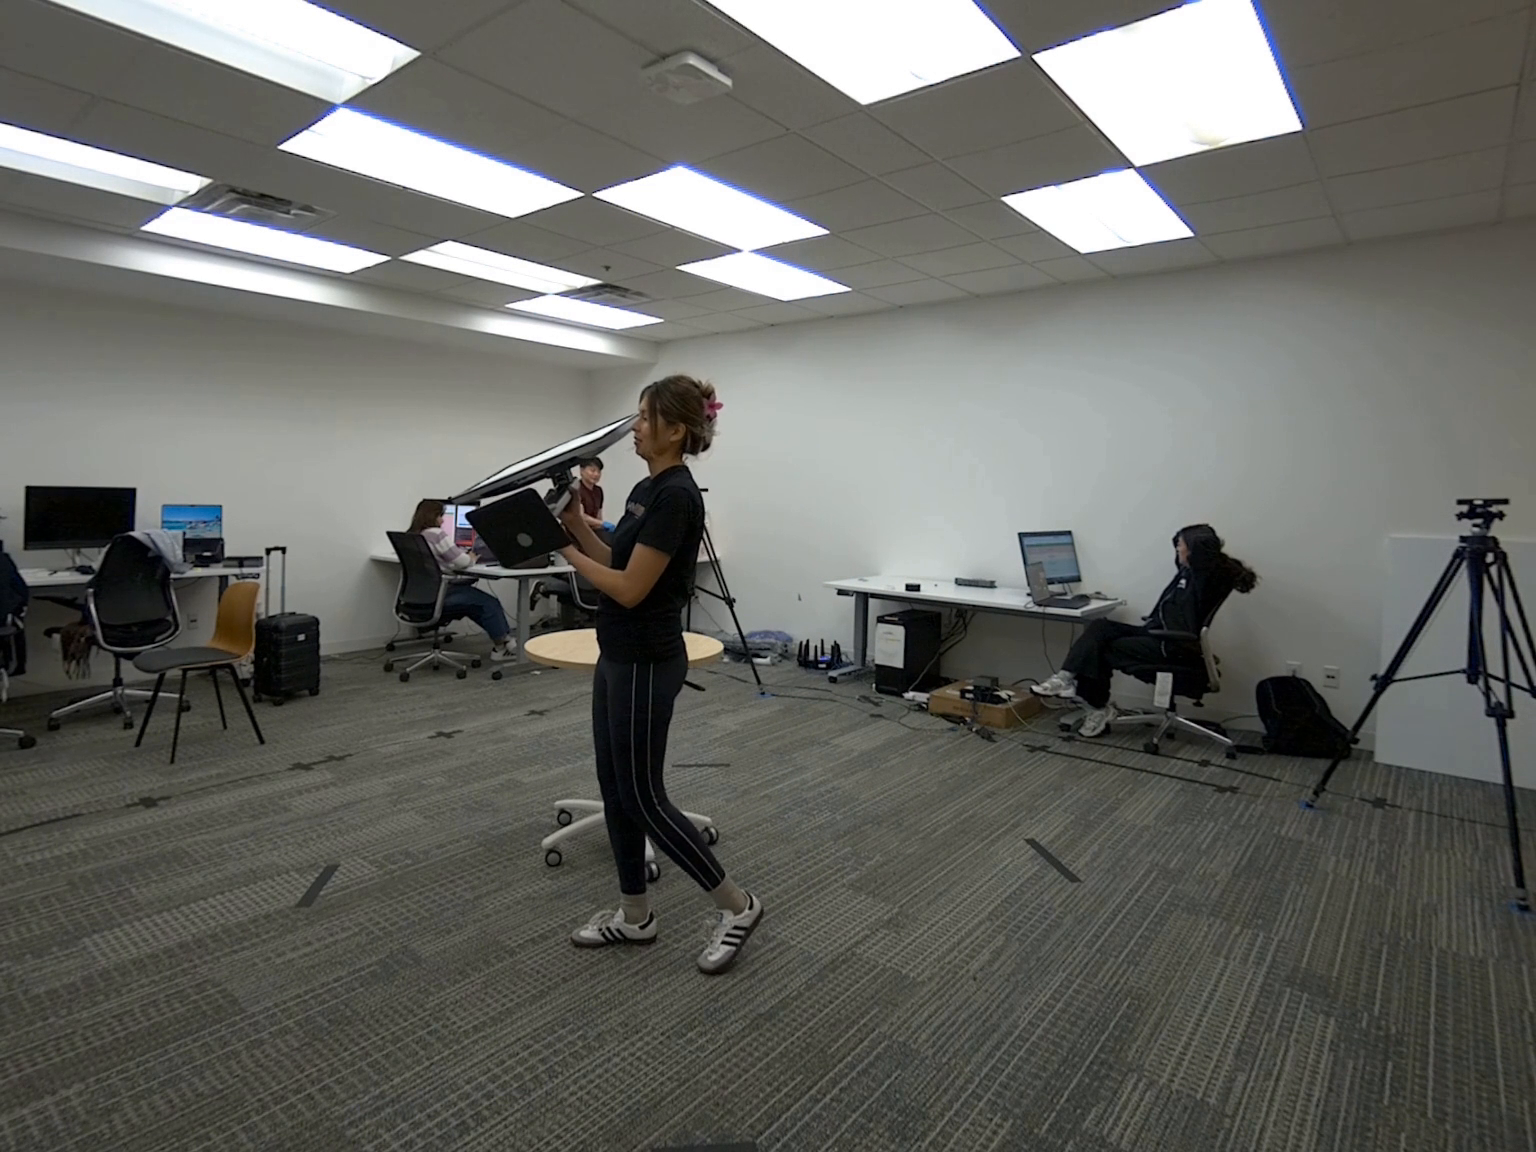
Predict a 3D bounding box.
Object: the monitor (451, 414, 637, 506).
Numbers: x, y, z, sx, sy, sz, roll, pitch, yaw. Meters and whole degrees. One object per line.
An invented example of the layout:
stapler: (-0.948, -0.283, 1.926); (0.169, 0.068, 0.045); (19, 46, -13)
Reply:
monitor: (-0.691, -0.289, 2.581); (0.547, 0.181, 0.533); (-15, 33, 19)
